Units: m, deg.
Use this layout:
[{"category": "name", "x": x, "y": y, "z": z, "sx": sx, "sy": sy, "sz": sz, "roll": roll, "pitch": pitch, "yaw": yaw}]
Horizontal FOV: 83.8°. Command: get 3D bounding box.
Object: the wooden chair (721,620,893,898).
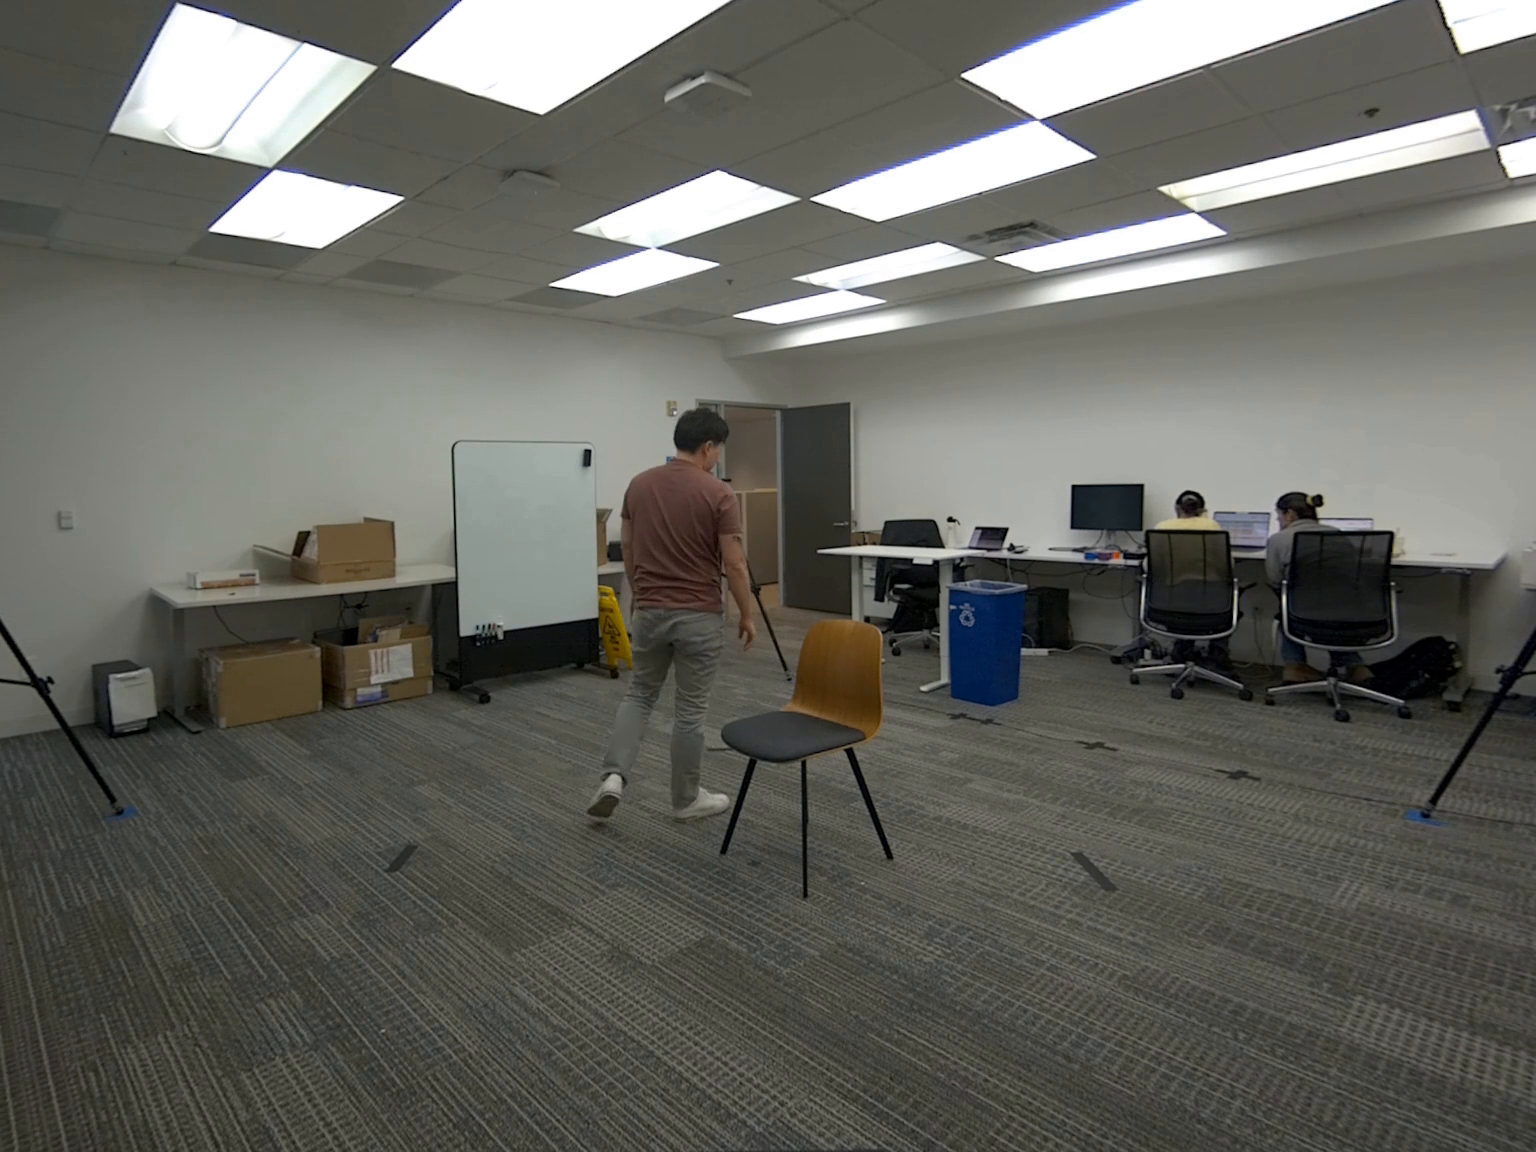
[{"category": "wooden chair", "x": 0.125, "y": 0.612, "z": 3.109, "sx": 0.508, "sy": 0.876, "sz": 0.493, "roll": 1, "pitch": 2, "yaw": -41}]
